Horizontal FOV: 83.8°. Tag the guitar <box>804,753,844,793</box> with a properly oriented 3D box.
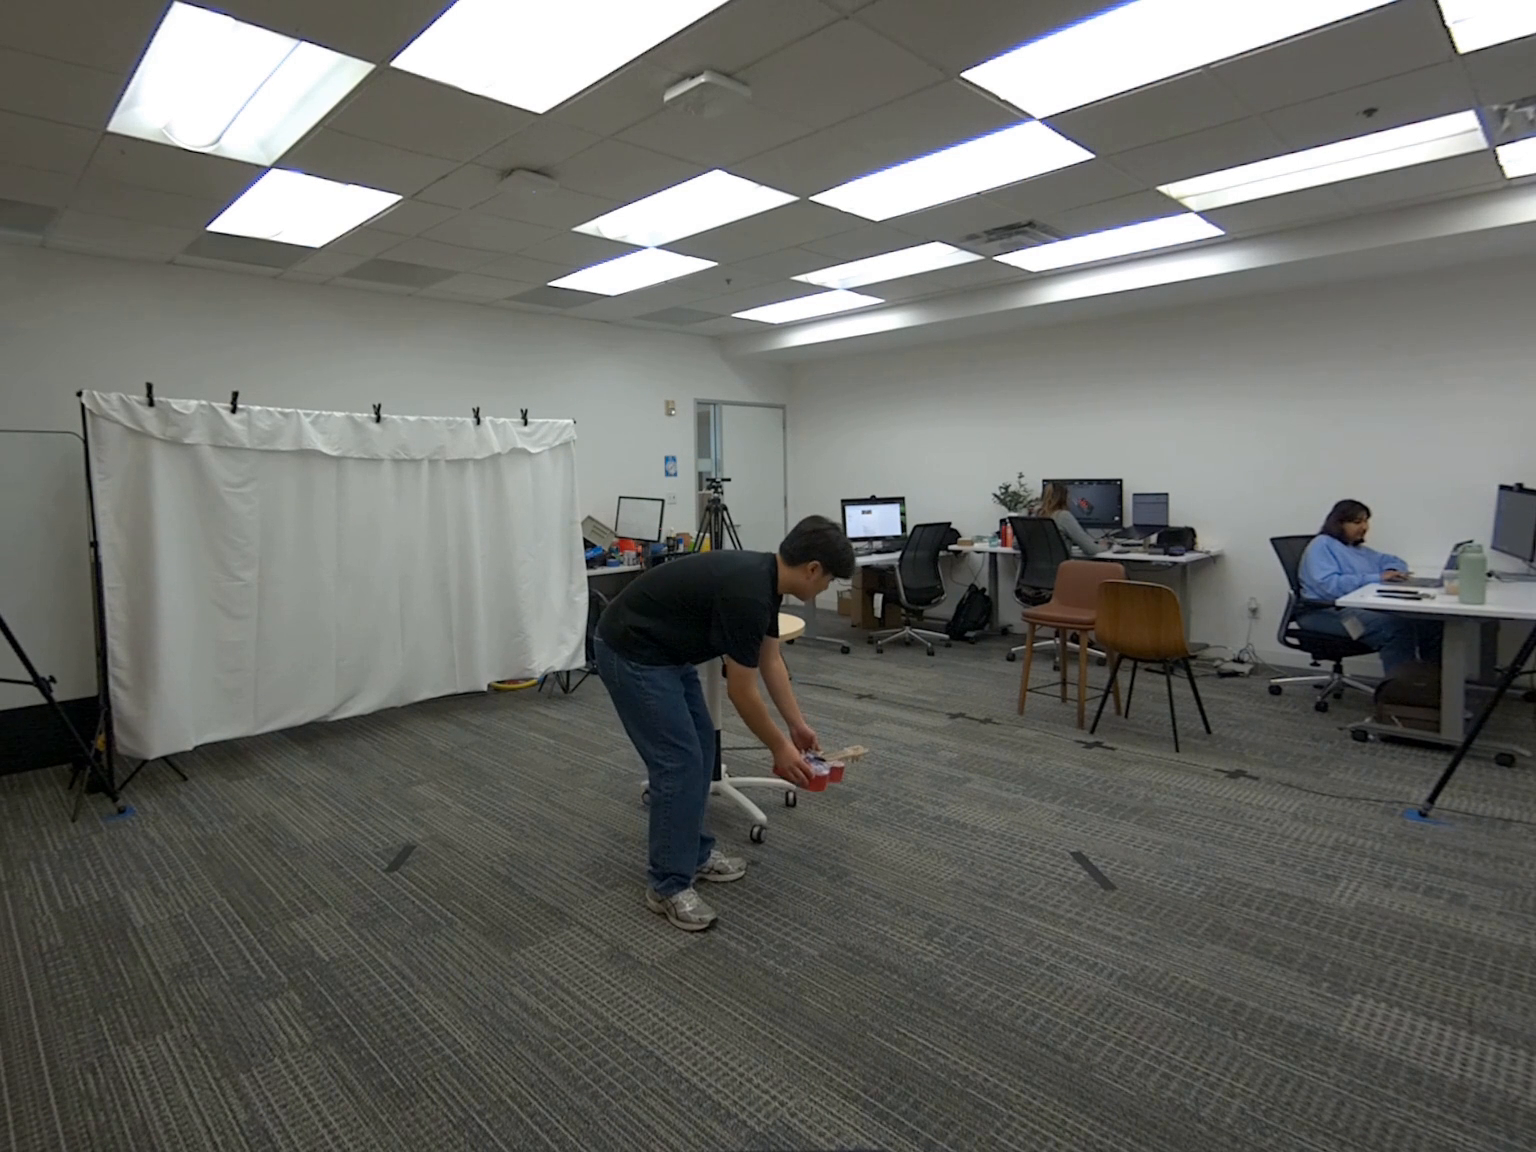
[{"bbox_3d":[0.259,0.675,2.993,0.200,0.070,0.482,16,8,40],"label":"guitar"}]
